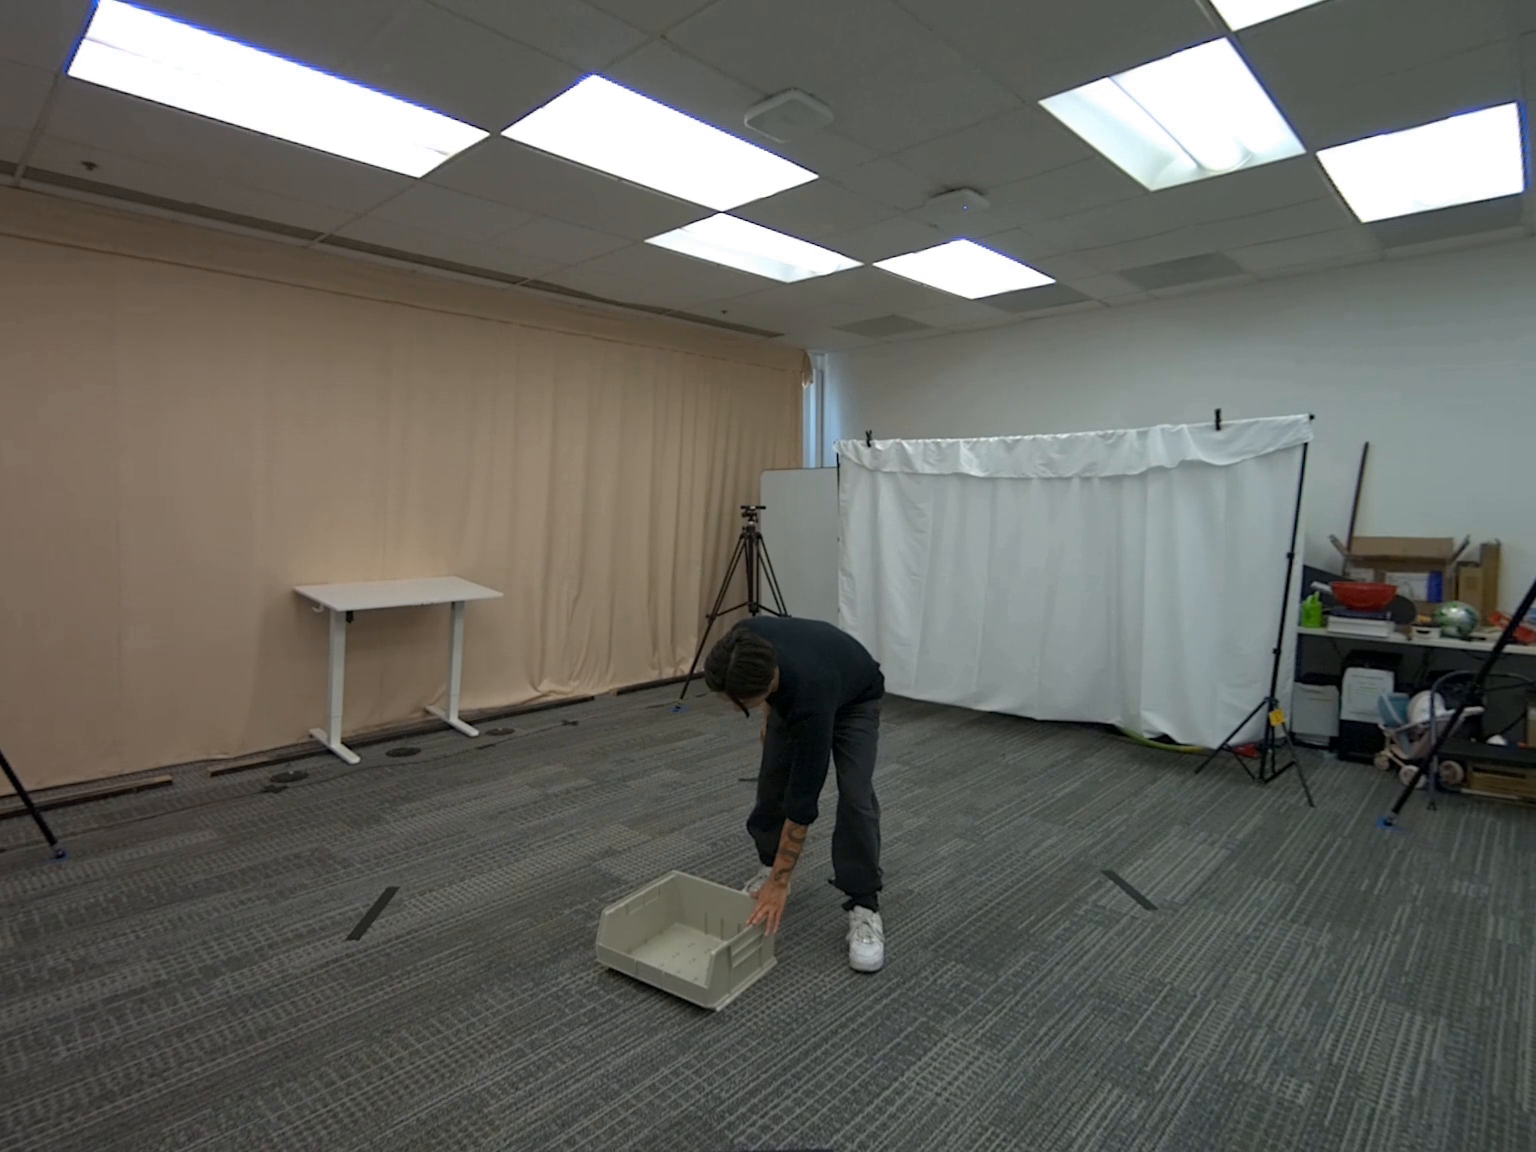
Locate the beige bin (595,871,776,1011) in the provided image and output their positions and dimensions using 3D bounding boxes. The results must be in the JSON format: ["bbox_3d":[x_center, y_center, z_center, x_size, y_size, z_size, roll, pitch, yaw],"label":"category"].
[{"bbox_3d":[-0.240,1.097,2.536,0.435,0.188,0.366,2,4,34],"label":"beige bin"}]
